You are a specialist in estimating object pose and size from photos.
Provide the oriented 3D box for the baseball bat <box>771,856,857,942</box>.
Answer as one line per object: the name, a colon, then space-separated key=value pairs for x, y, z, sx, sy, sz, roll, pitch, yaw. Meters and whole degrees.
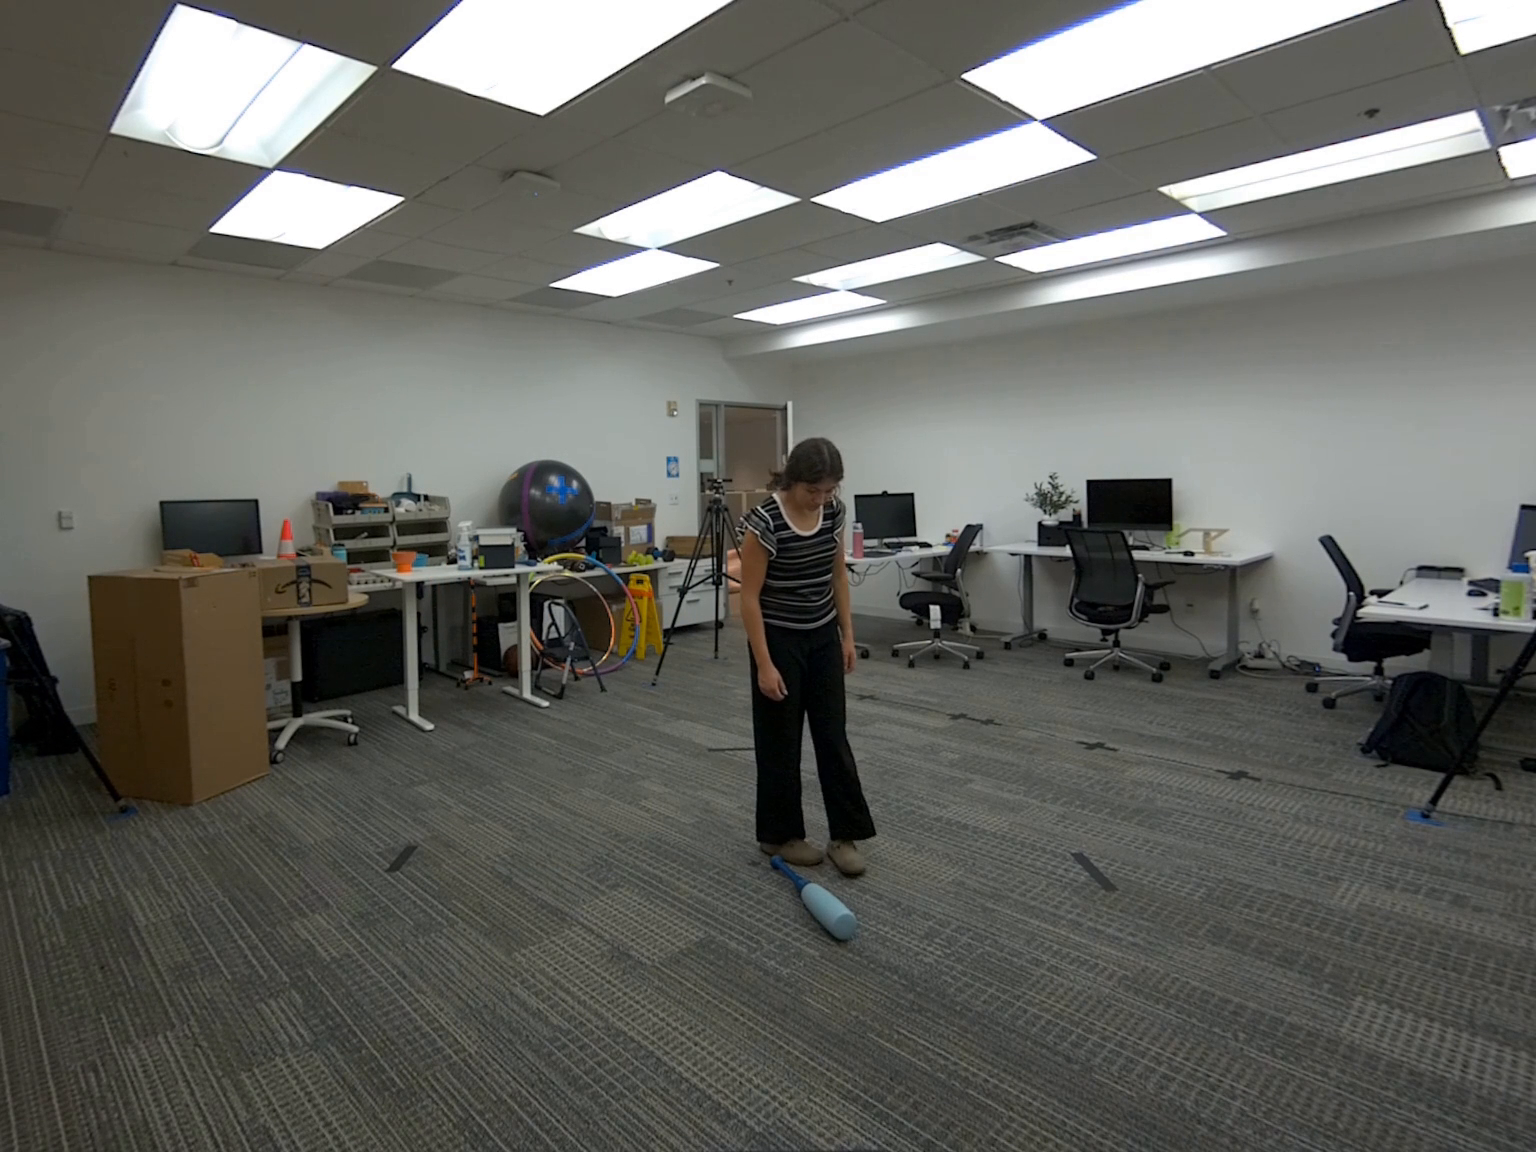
baseball bat: x=0.134 y=1.049 z=2.810 sx=0.087 sy=0.089 sz=0.554 roll=-3 pitch=4 yaw=-21
